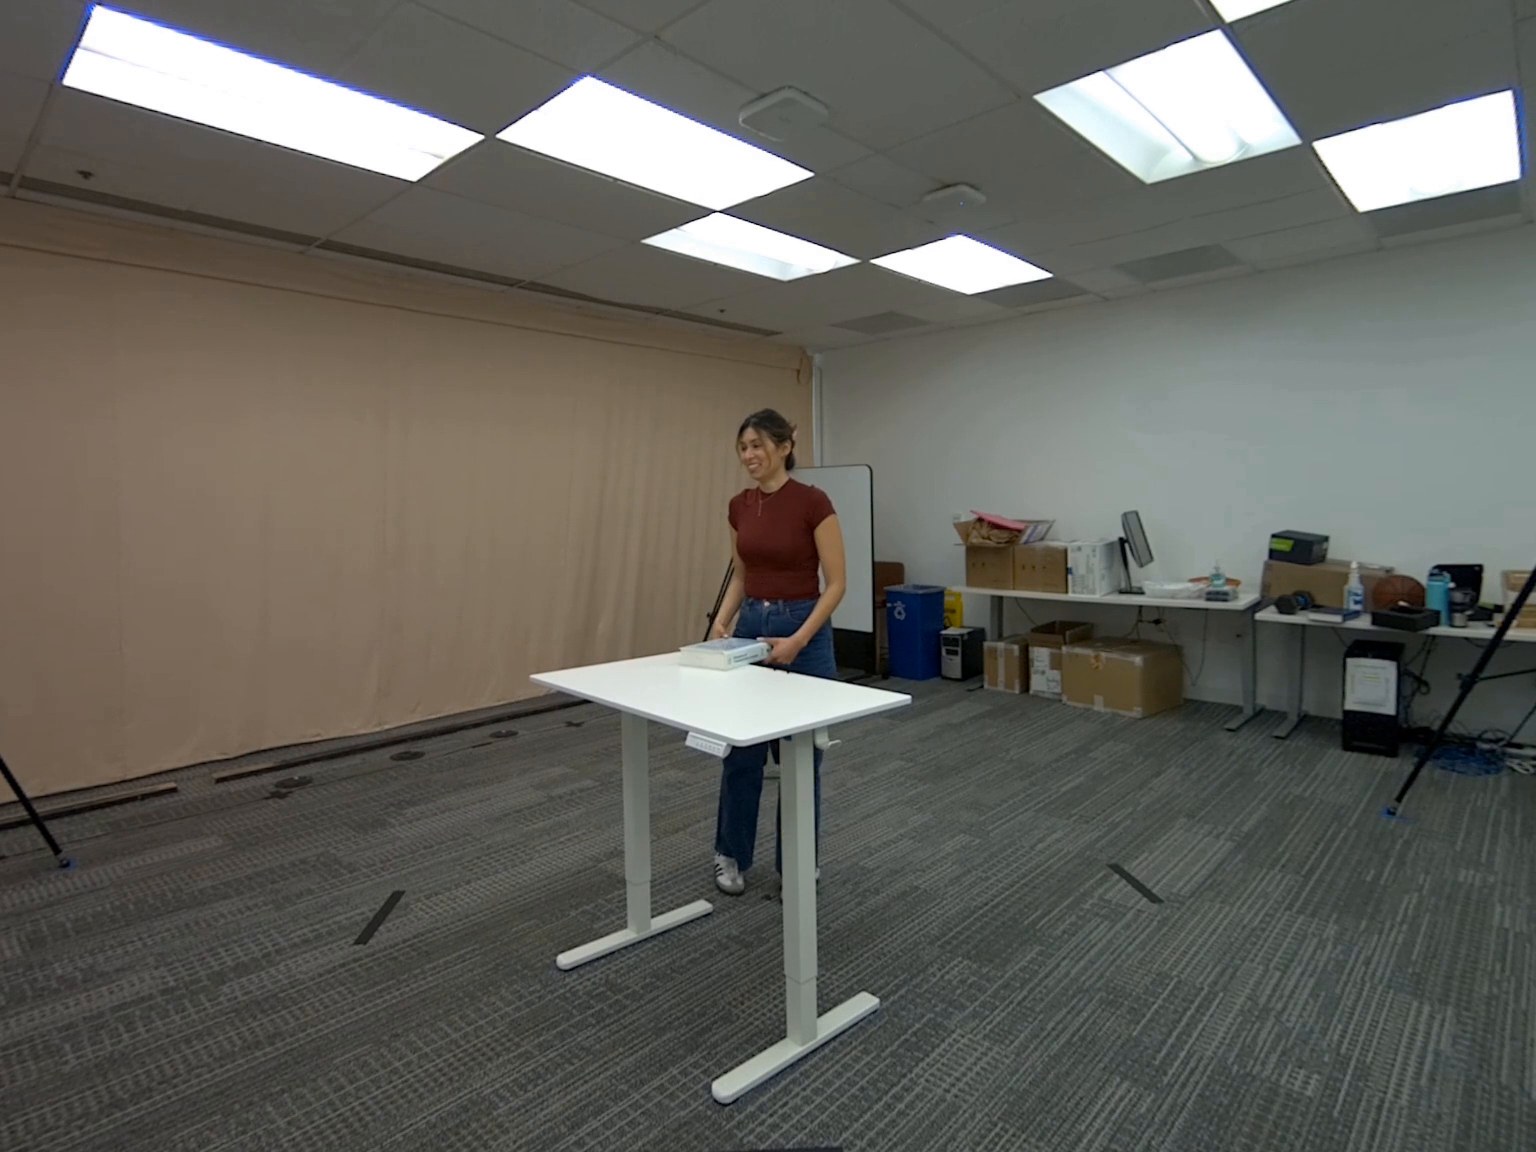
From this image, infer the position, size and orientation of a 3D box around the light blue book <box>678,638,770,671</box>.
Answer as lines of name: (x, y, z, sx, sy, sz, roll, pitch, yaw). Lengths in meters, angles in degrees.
light blue book: (-0.168, 0.259, 2.743, 0.197, 0.059, 0.254, 2, 6, 30)
